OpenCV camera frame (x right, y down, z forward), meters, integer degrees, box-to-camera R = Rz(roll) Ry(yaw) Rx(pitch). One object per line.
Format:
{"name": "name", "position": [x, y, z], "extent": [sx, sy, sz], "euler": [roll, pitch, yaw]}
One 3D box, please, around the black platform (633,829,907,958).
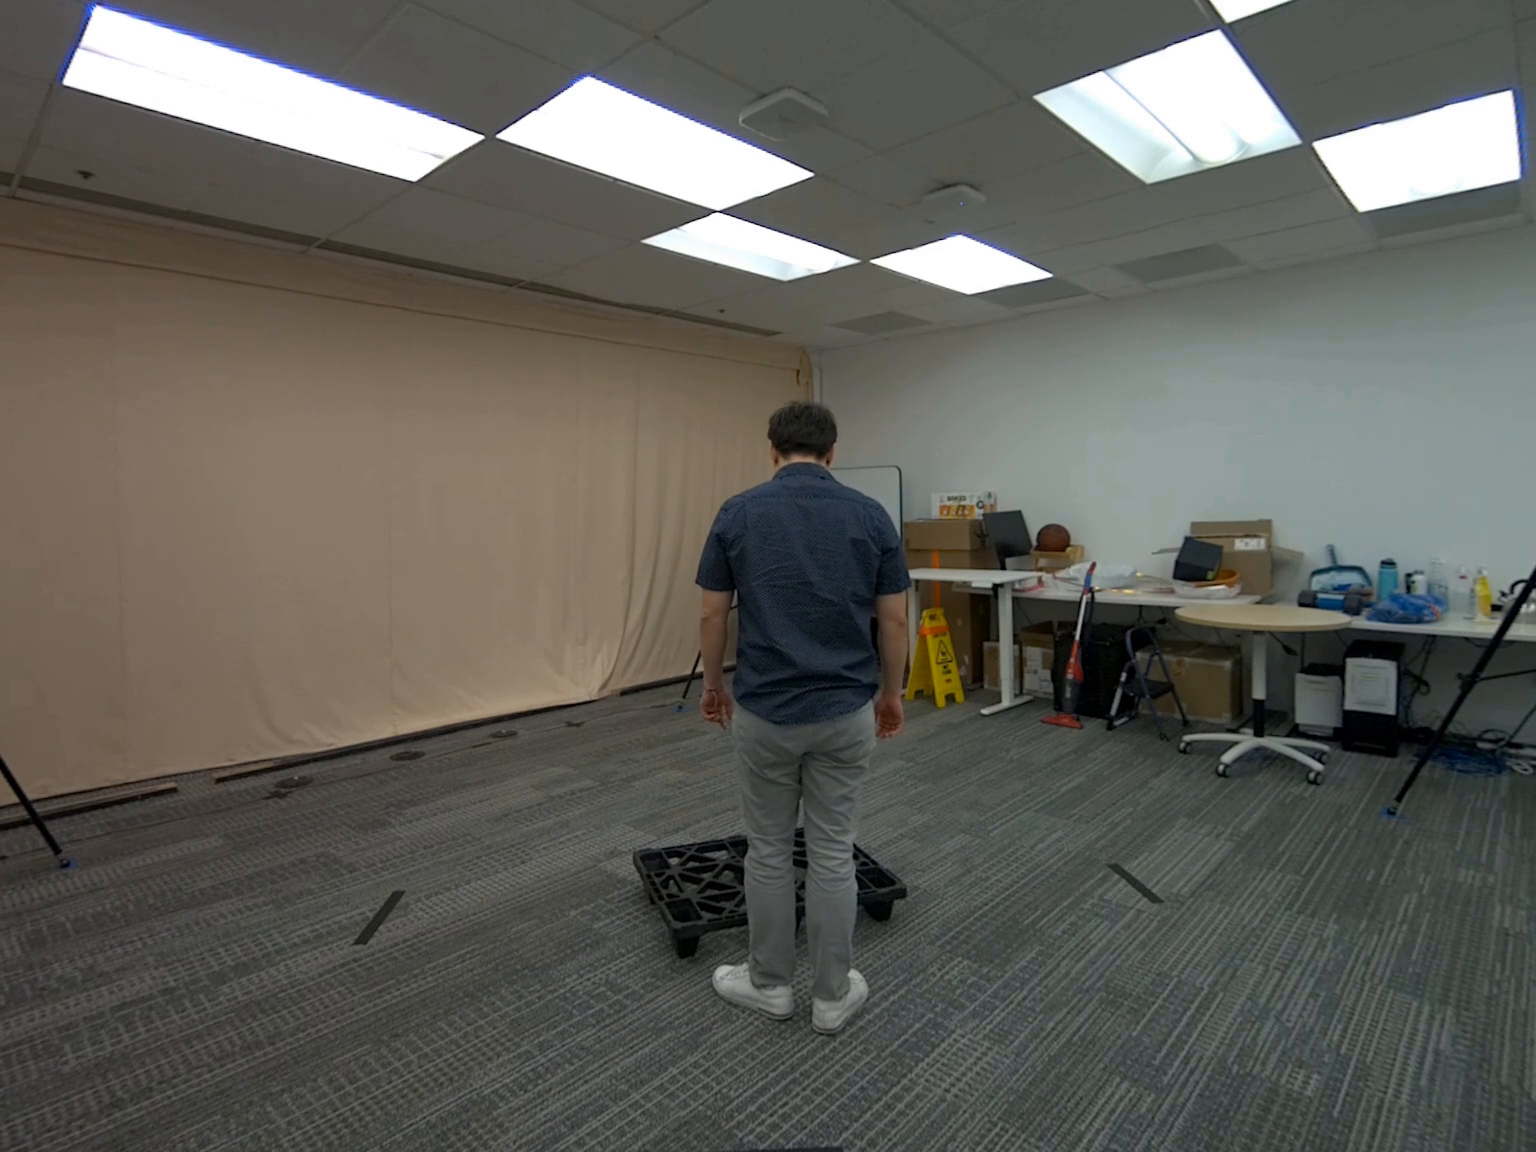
{"name": "black platform", "position": [-0.018, 1.077, 2.919], "extent": [0.791, 0.143, 0.618], "euler": [-2, 5, -19]}
